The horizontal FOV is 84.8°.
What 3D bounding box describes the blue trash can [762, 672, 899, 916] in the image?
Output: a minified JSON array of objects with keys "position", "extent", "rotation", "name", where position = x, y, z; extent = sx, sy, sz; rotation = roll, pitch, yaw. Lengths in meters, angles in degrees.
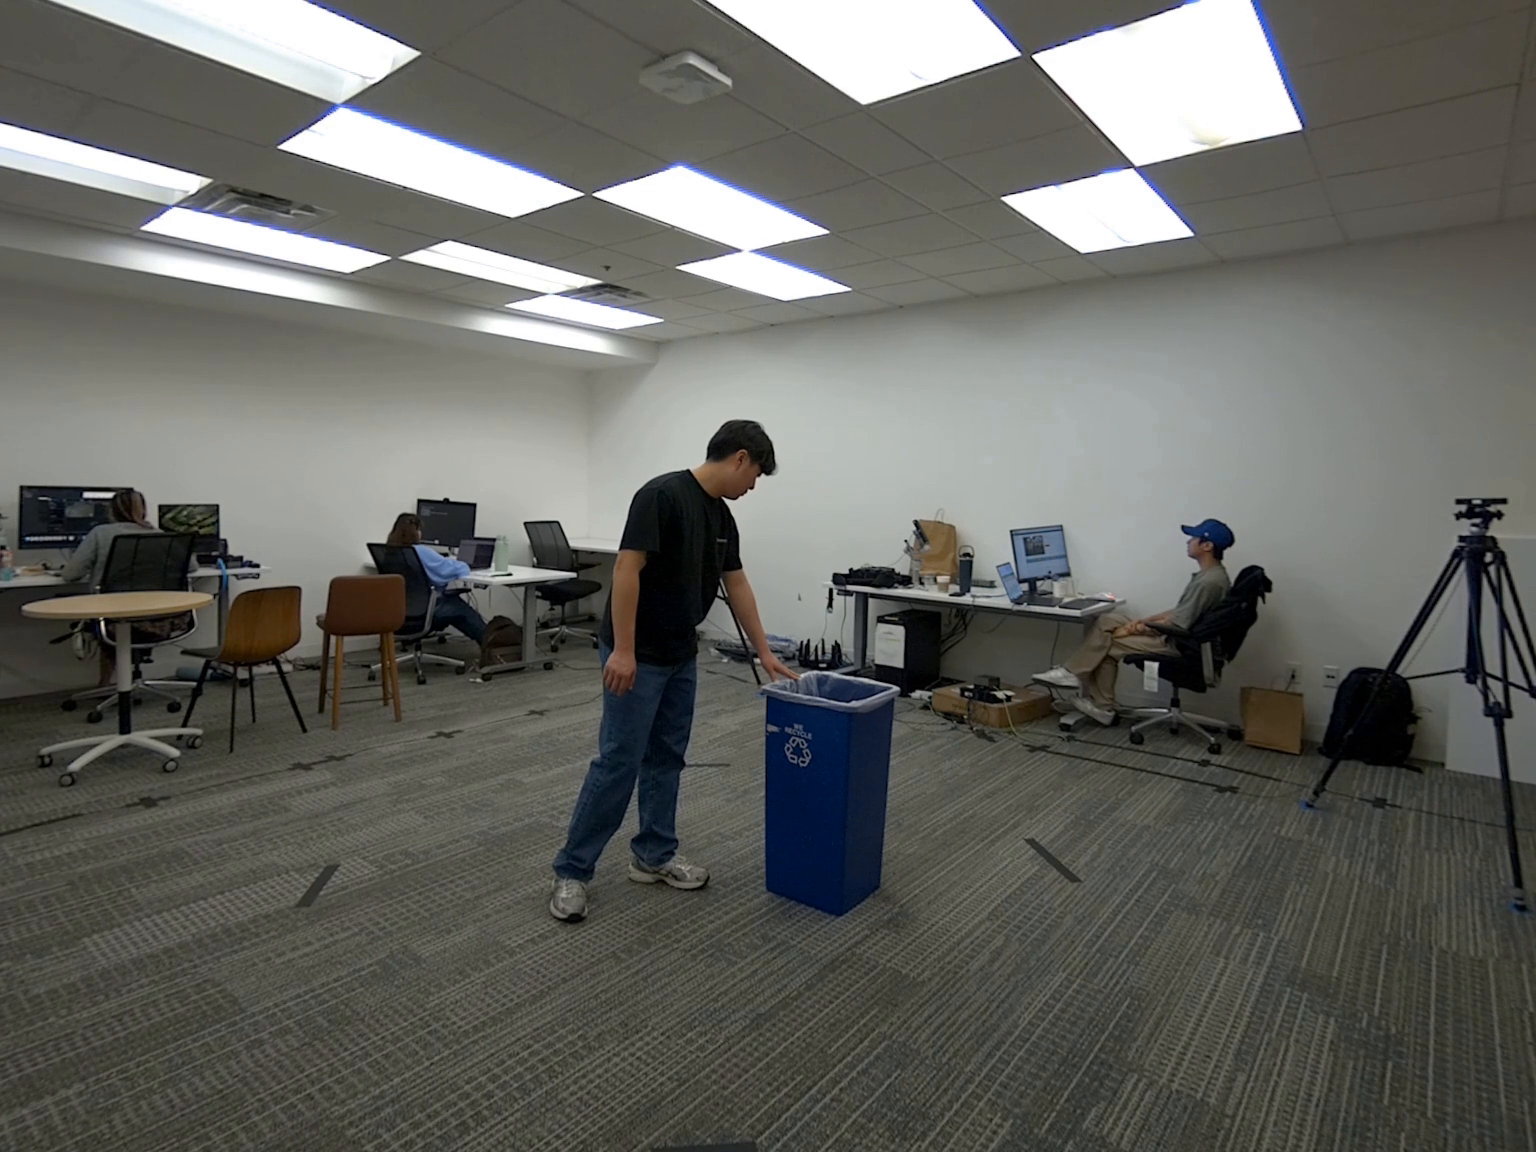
[{"position":[0.209,0.737,2.963],"extent":[0.386,0.711,0.367],"rotation":[3,4,34],"name":"blue trash can"}]
